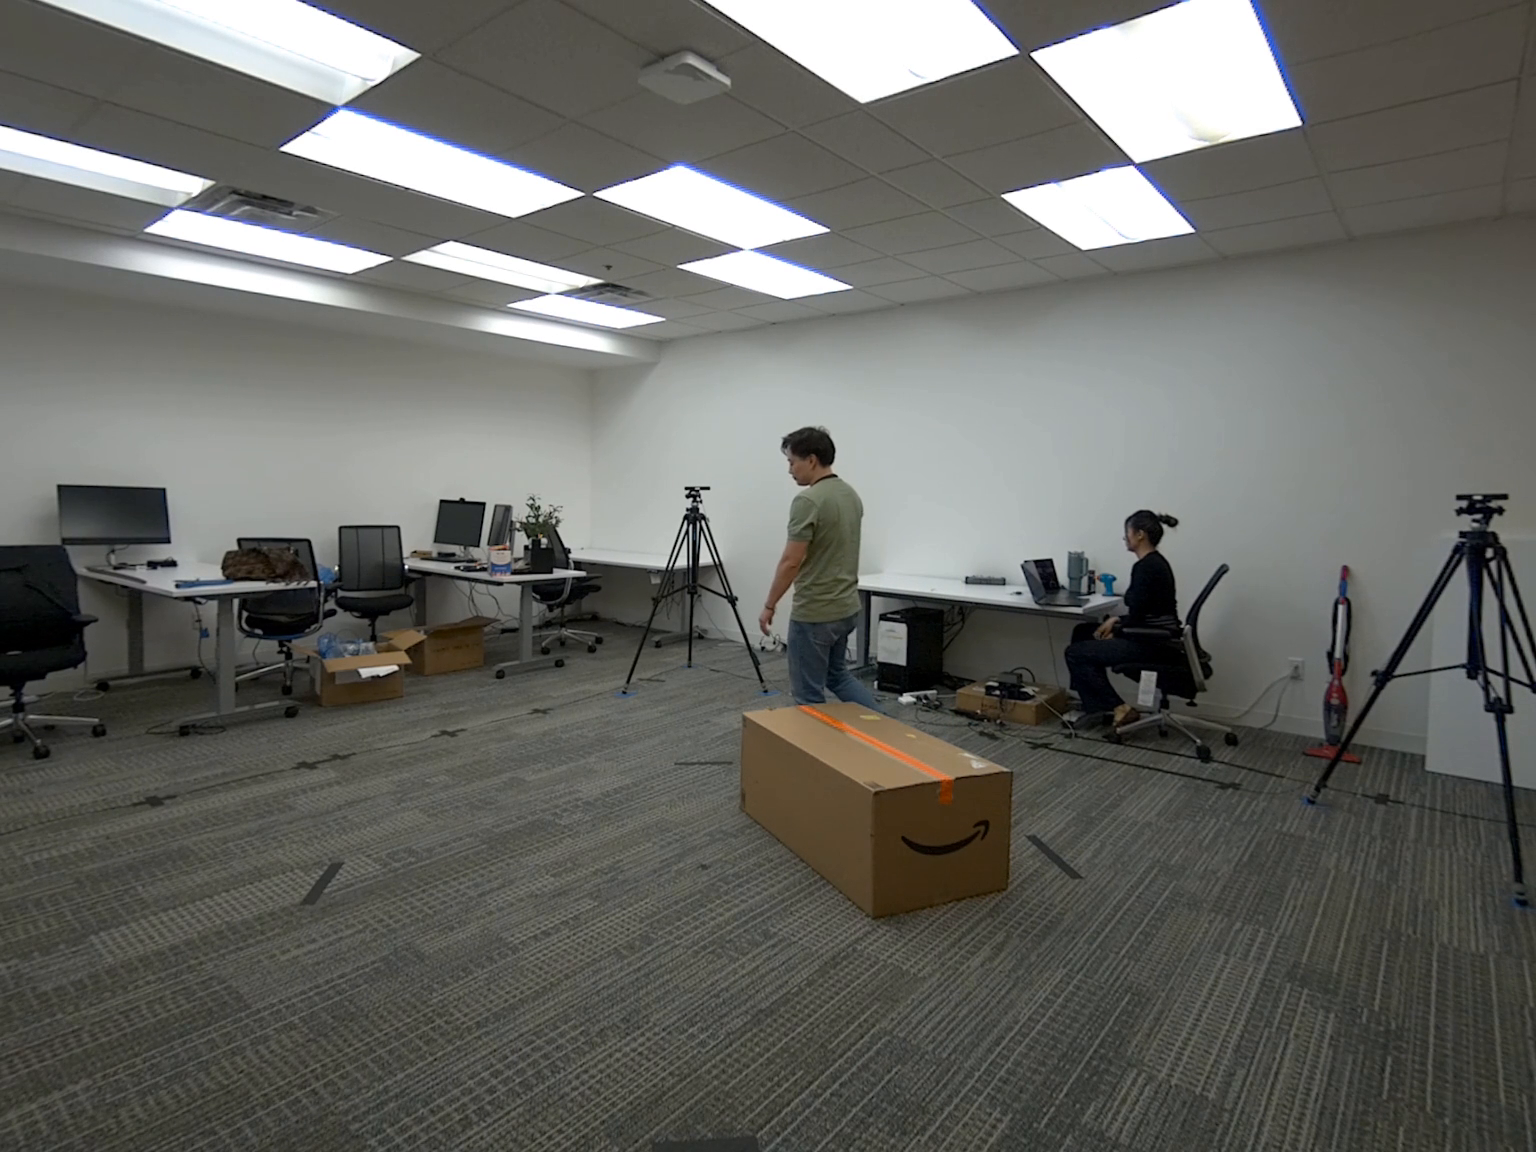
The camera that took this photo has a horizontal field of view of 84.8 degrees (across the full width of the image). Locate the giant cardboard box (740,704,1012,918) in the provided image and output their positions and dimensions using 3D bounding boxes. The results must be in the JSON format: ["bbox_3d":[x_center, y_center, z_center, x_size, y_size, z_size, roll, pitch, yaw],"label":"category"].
[{"bbox_3d":[0.353,0.835,3.324,0.563,0.425,1.055,0,5,-26],"label":"giant cardboard box"}]
